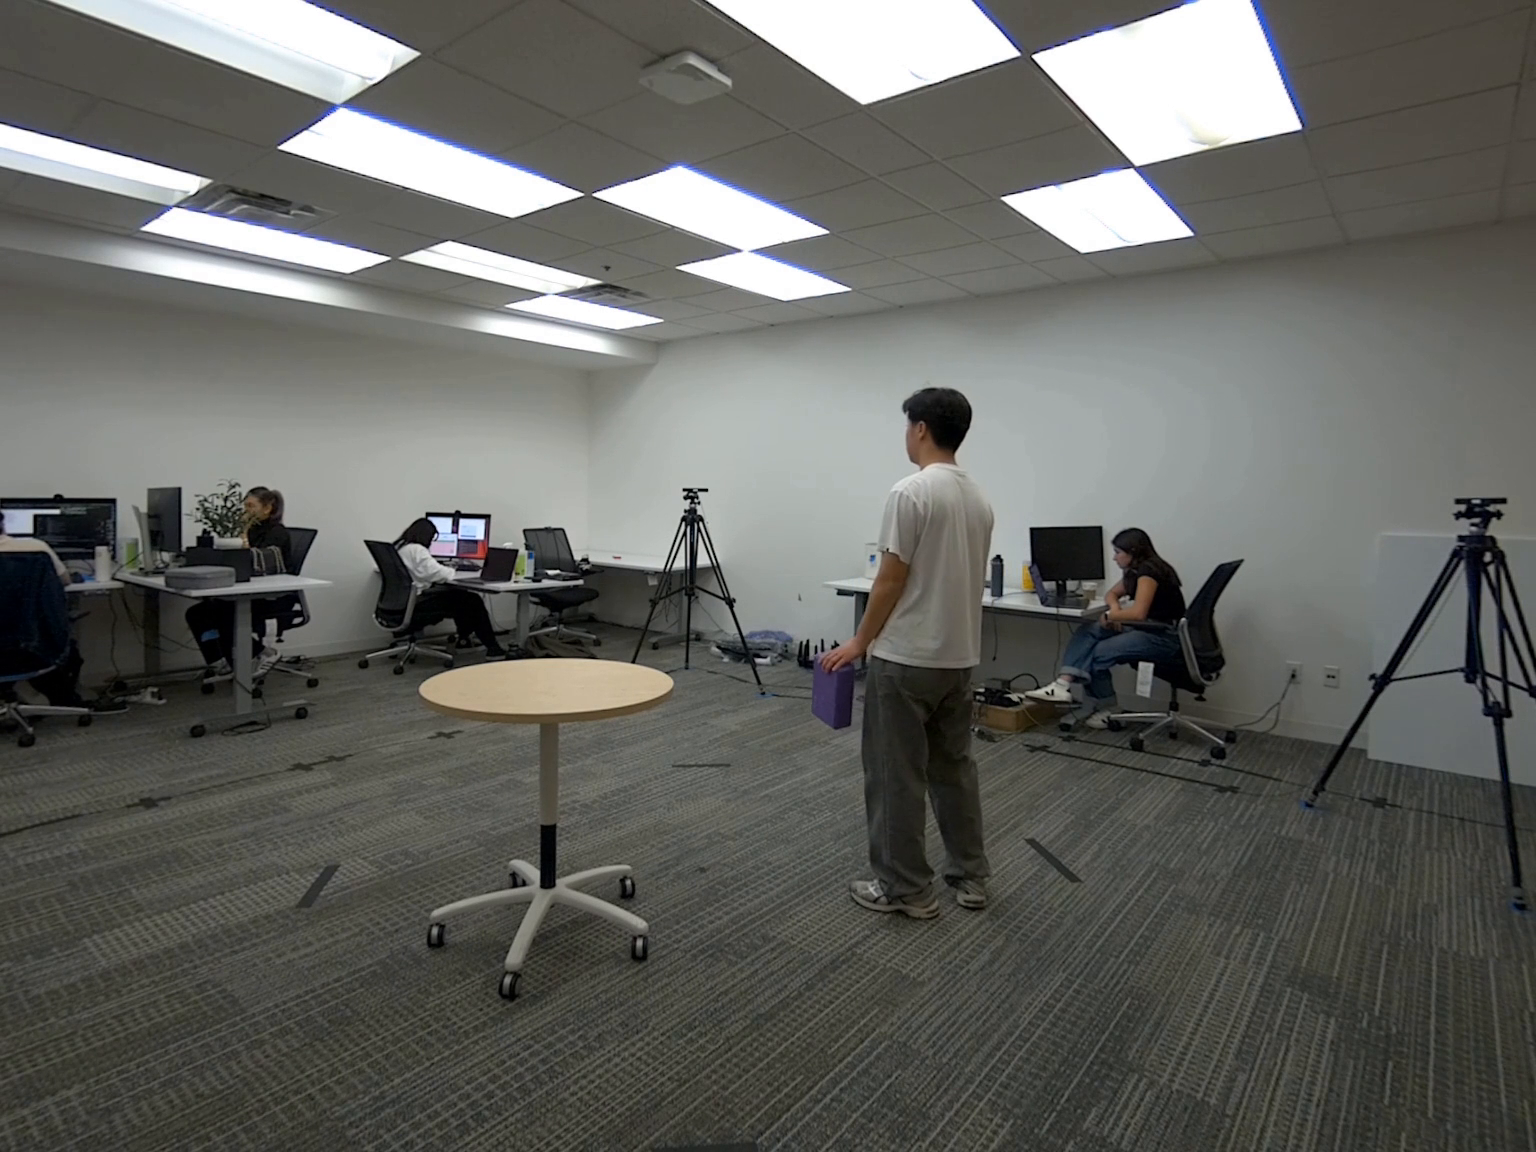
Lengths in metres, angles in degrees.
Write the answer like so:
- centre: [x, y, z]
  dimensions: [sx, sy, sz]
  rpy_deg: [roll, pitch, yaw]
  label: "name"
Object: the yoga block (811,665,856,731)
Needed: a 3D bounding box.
- centre: [0.230, 0.394, 2.918]
  dimensions: [0.074, 0.227, 0.155]
  rpy_deg: [-3, 17, -34]
  label: "yoga block"
